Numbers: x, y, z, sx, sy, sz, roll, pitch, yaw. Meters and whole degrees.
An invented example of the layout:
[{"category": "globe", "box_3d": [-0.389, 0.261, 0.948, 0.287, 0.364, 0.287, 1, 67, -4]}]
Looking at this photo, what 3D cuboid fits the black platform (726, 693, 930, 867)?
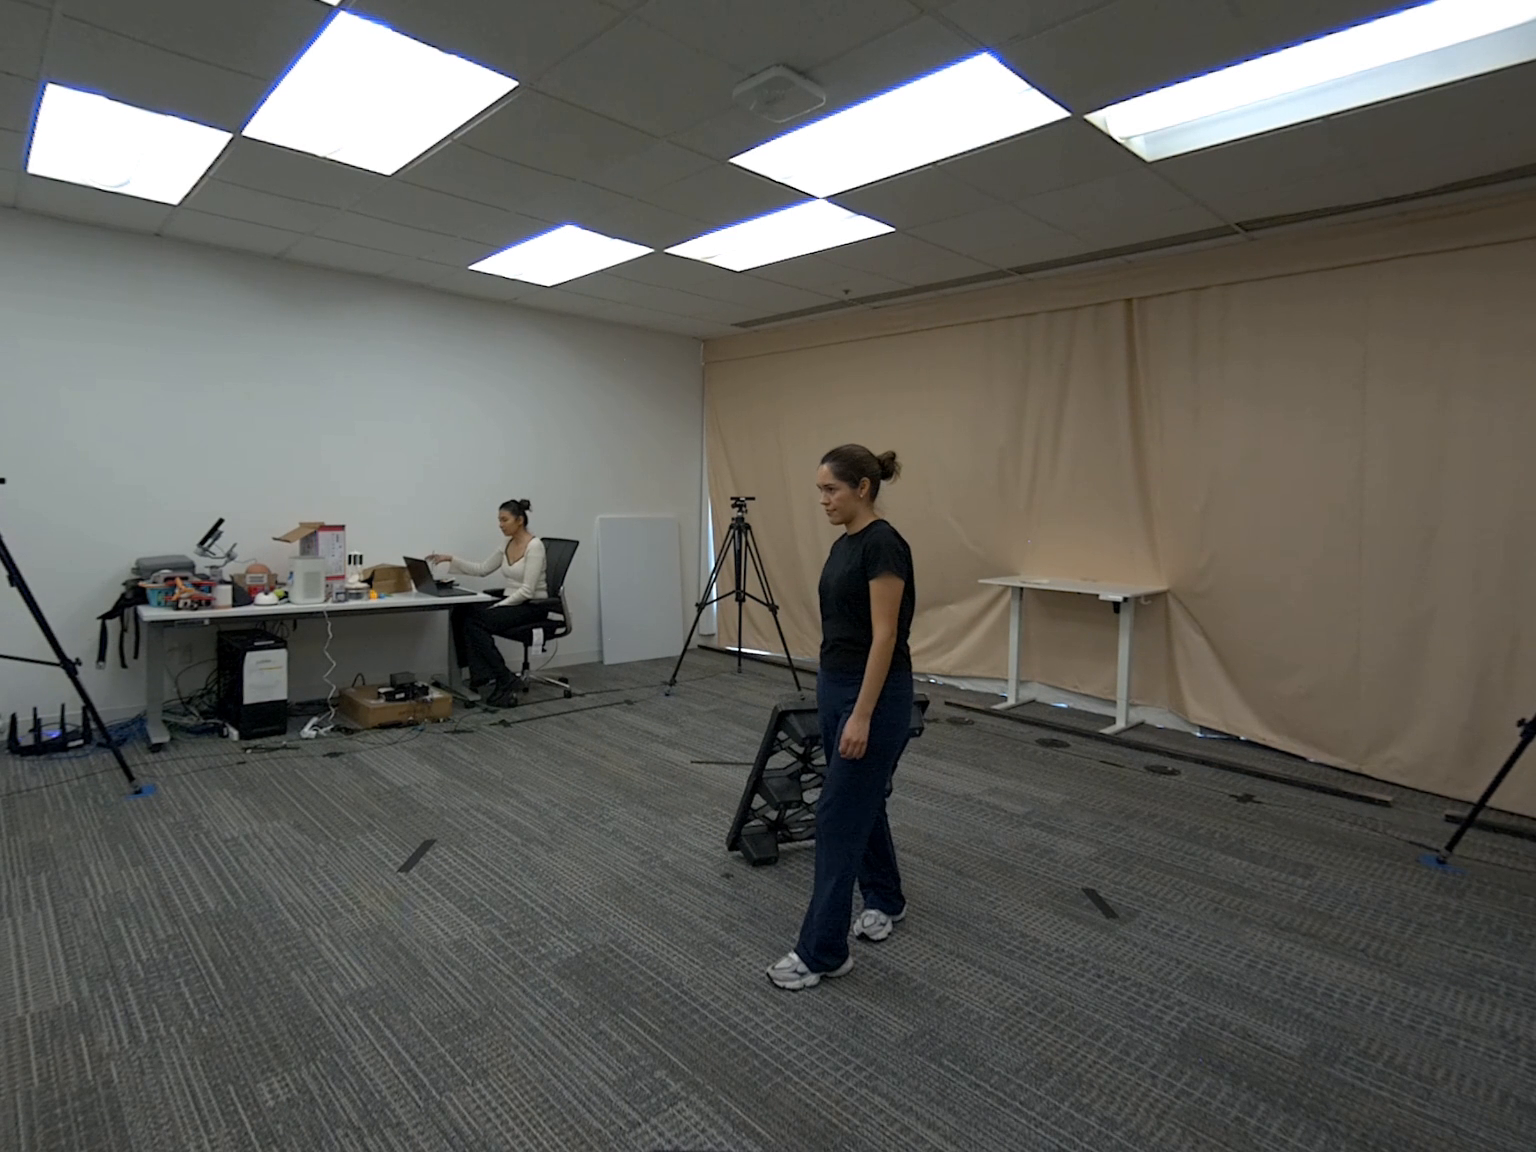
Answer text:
[{"category": "black platform", "box_3d": [0.214, 0.771, 3.092, 0.595, 0.794, 0.148, 0, 38, -22]}]
